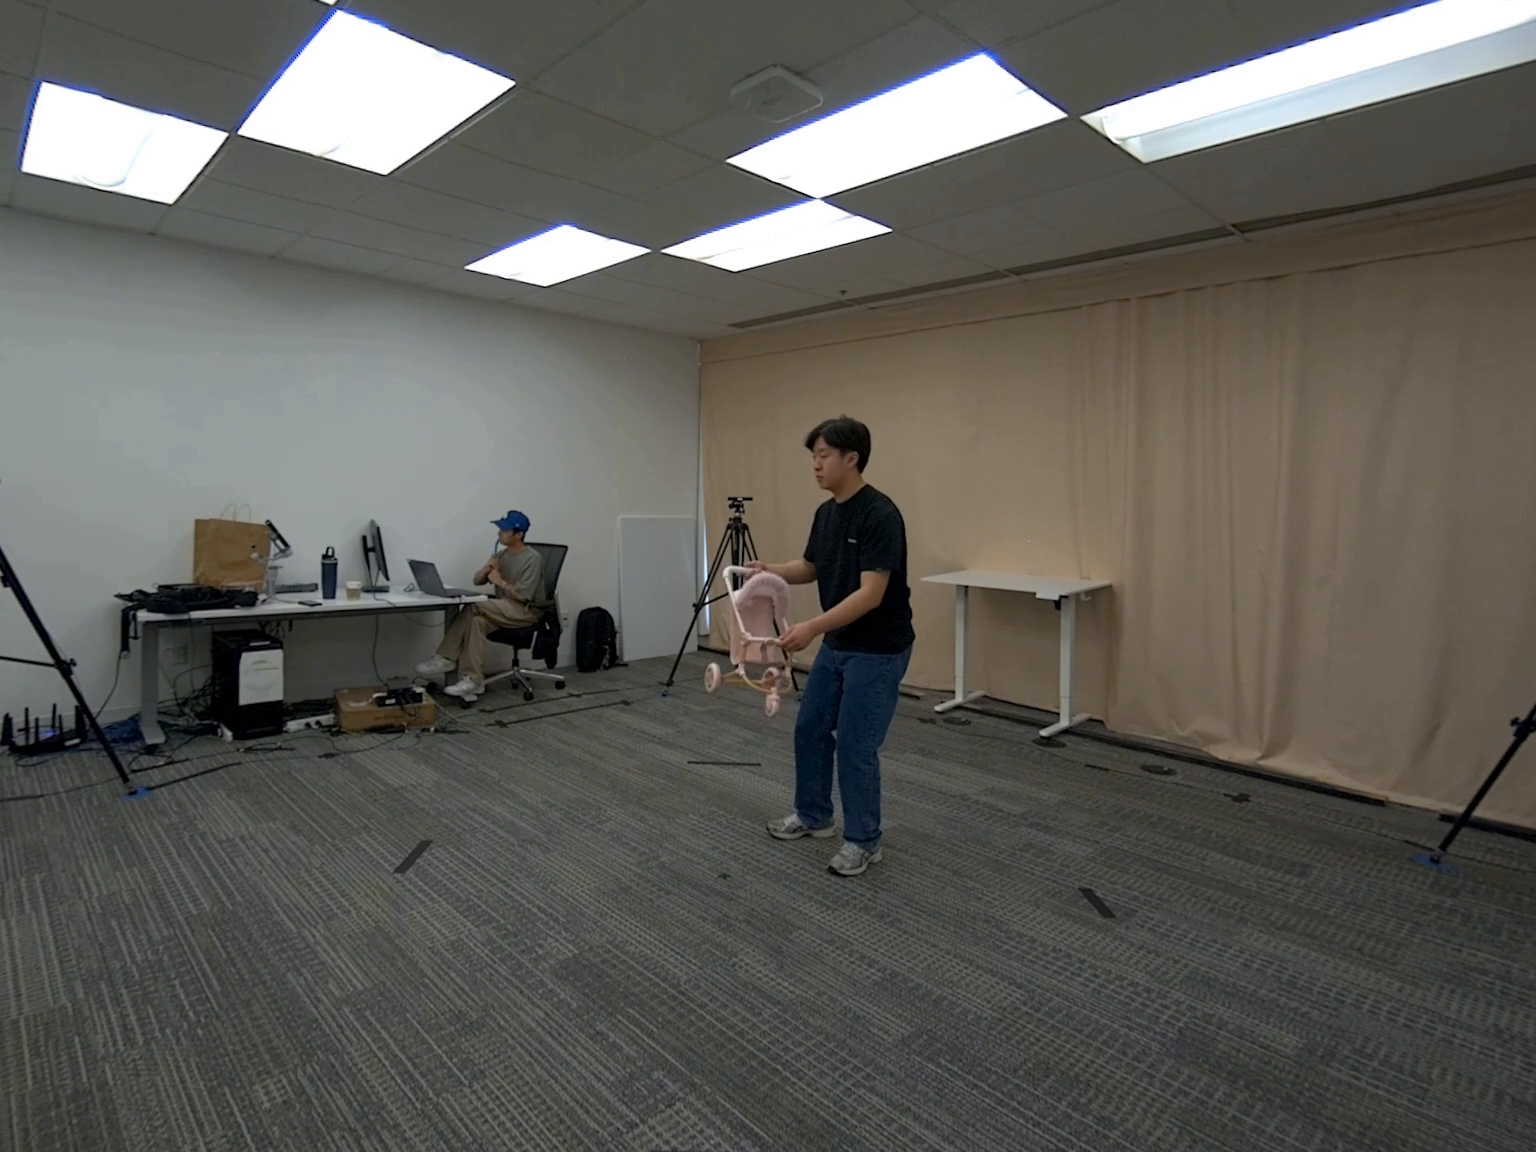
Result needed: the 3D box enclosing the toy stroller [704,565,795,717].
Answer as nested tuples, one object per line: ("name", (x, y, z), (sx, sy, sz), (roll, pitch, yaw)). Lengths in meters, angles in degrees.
("toy stroller", (-0.033, 0.237, 3.036), (0.276, 0.538, 0.346), (9, -8, -22))
